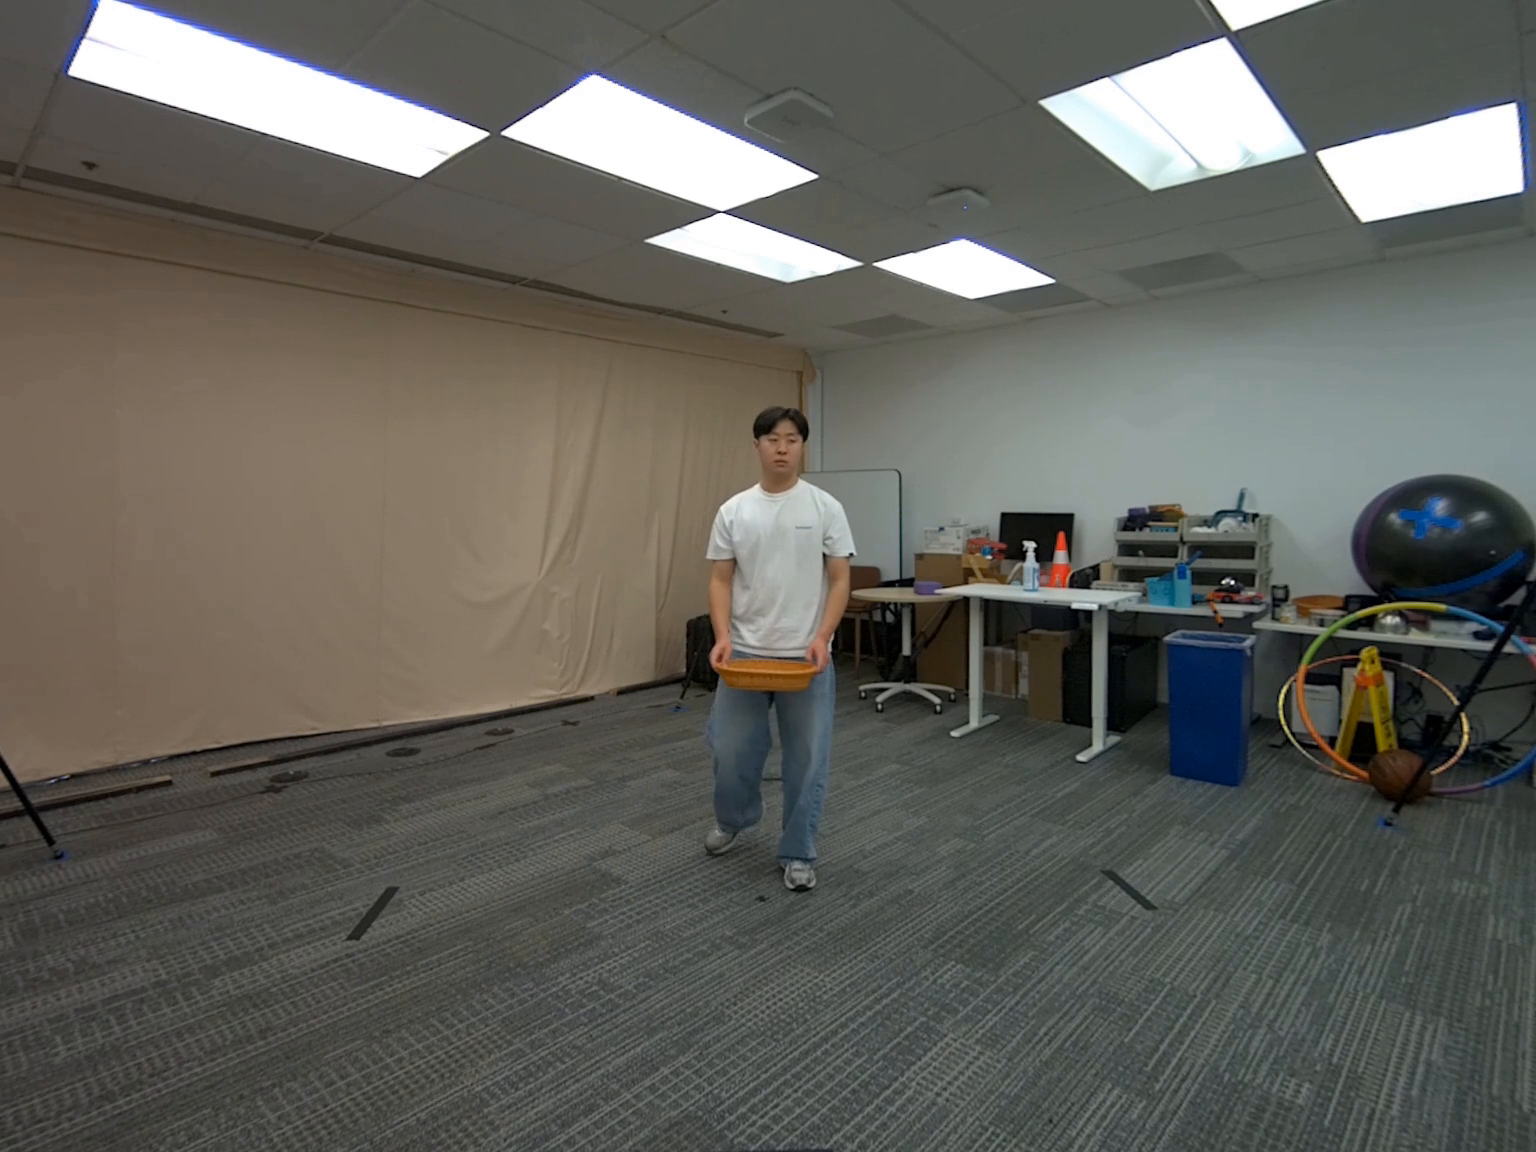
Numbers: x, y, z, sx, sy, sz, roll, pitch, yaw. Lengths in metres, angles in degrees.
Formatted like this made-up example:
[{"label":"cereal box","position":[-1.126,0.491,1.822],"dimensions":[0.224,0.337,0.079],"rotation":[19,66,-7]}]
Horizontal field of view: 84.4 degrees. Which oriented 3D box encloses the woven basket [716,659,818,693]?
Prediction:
[{"label":"woven basket","position":[-0.030,0.335,2.906],"dimensions":[0.362,0.073,0.245],"rotation":[6,8,35]}]
